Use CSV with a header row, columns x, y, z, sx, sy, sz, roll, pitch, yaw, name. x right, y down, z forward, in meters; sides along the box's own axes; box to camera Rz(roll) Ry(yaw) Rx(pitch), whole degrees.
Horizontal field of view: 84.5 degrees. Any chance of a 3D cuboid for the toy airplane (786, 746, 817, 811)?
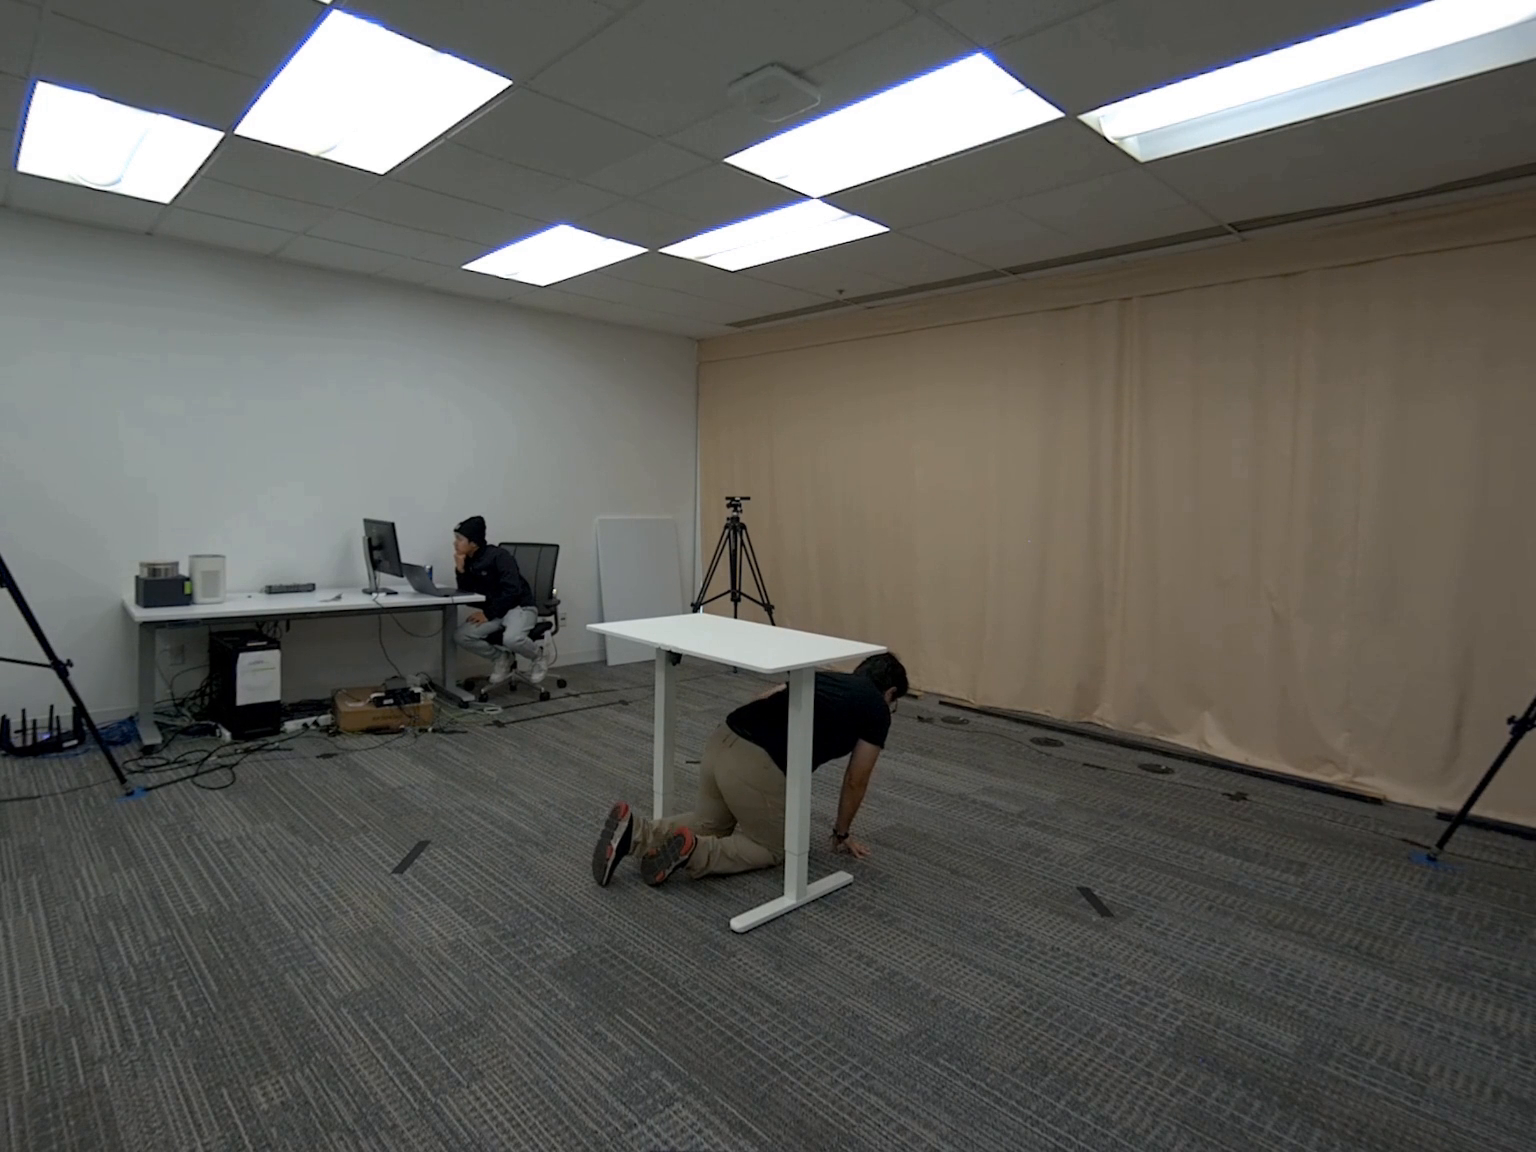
x,y,z,sx,sy,sz,roll,pitch,yaw,name
0.041,0.838,3.479,0.249,0.160,0.254,-2,-38,-9,toy airplane
